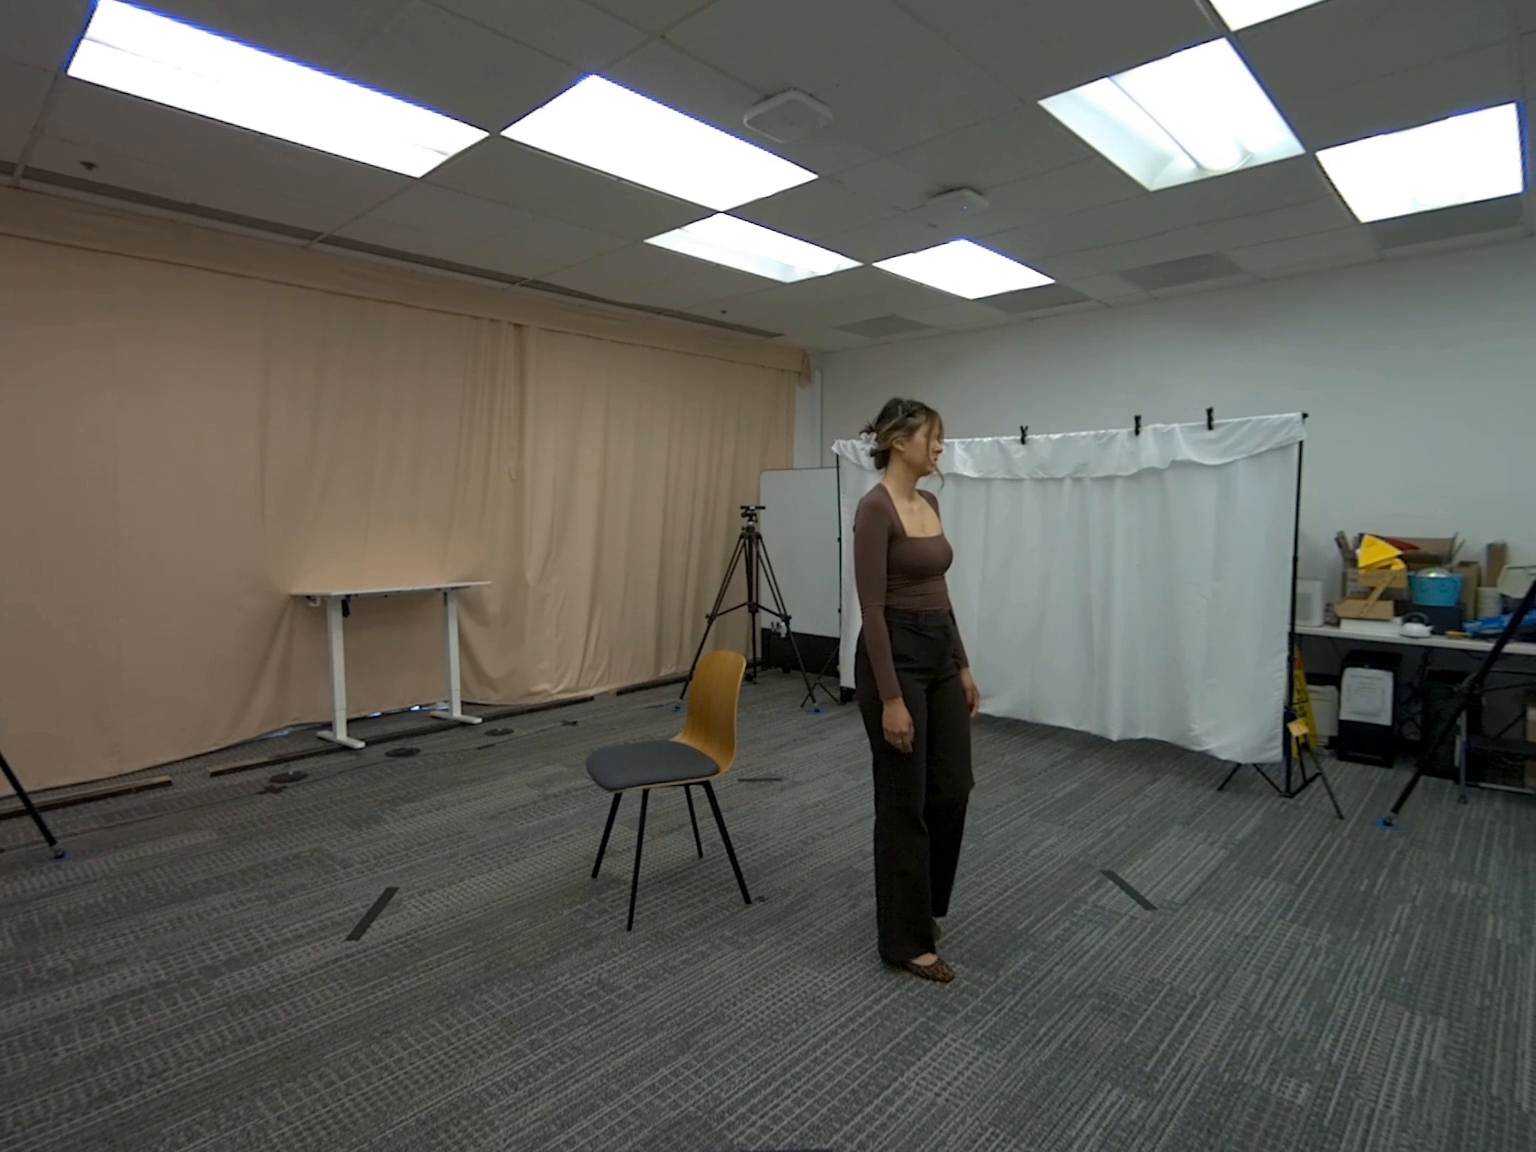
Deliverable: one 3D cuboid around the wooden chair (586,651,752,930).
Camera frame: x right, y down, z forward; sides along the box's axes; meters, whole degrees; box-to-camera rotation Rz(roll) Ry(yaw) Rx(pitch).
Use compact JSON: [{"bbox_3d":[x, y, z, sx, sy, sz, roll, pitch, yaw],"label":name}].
[{"bbox_3d":[-0.369,0.718,3.025,0.510,0.876,0.491,3,2,-26],"label":"wooden chair"}]
